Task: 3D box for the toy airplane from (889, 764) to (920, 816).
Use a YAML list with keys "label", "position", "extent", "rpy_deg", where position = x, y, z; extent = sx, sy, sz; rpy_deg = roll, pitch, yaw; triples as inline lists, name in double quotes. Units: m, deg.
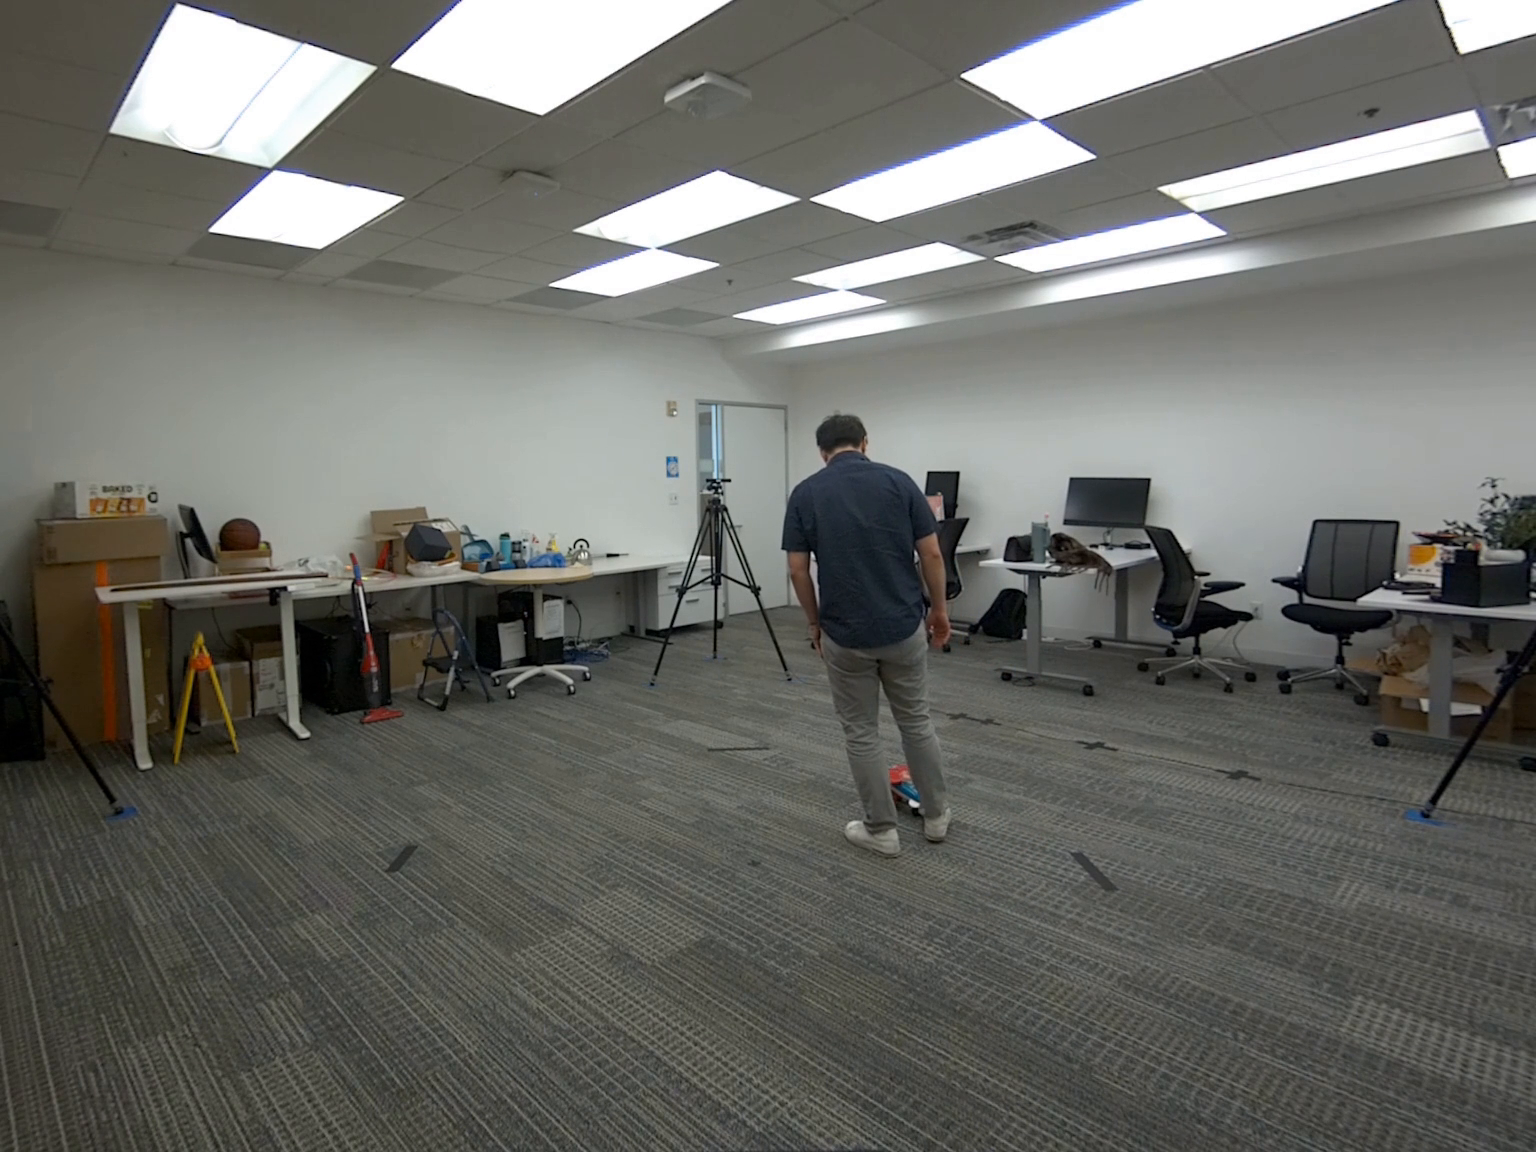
- label: "toy airplane"
  position: [0.591, 0.907, 3.613]
  extent: [0.266, 0.156, 0.245]
  rpy_deg: [1, 4, 32]
